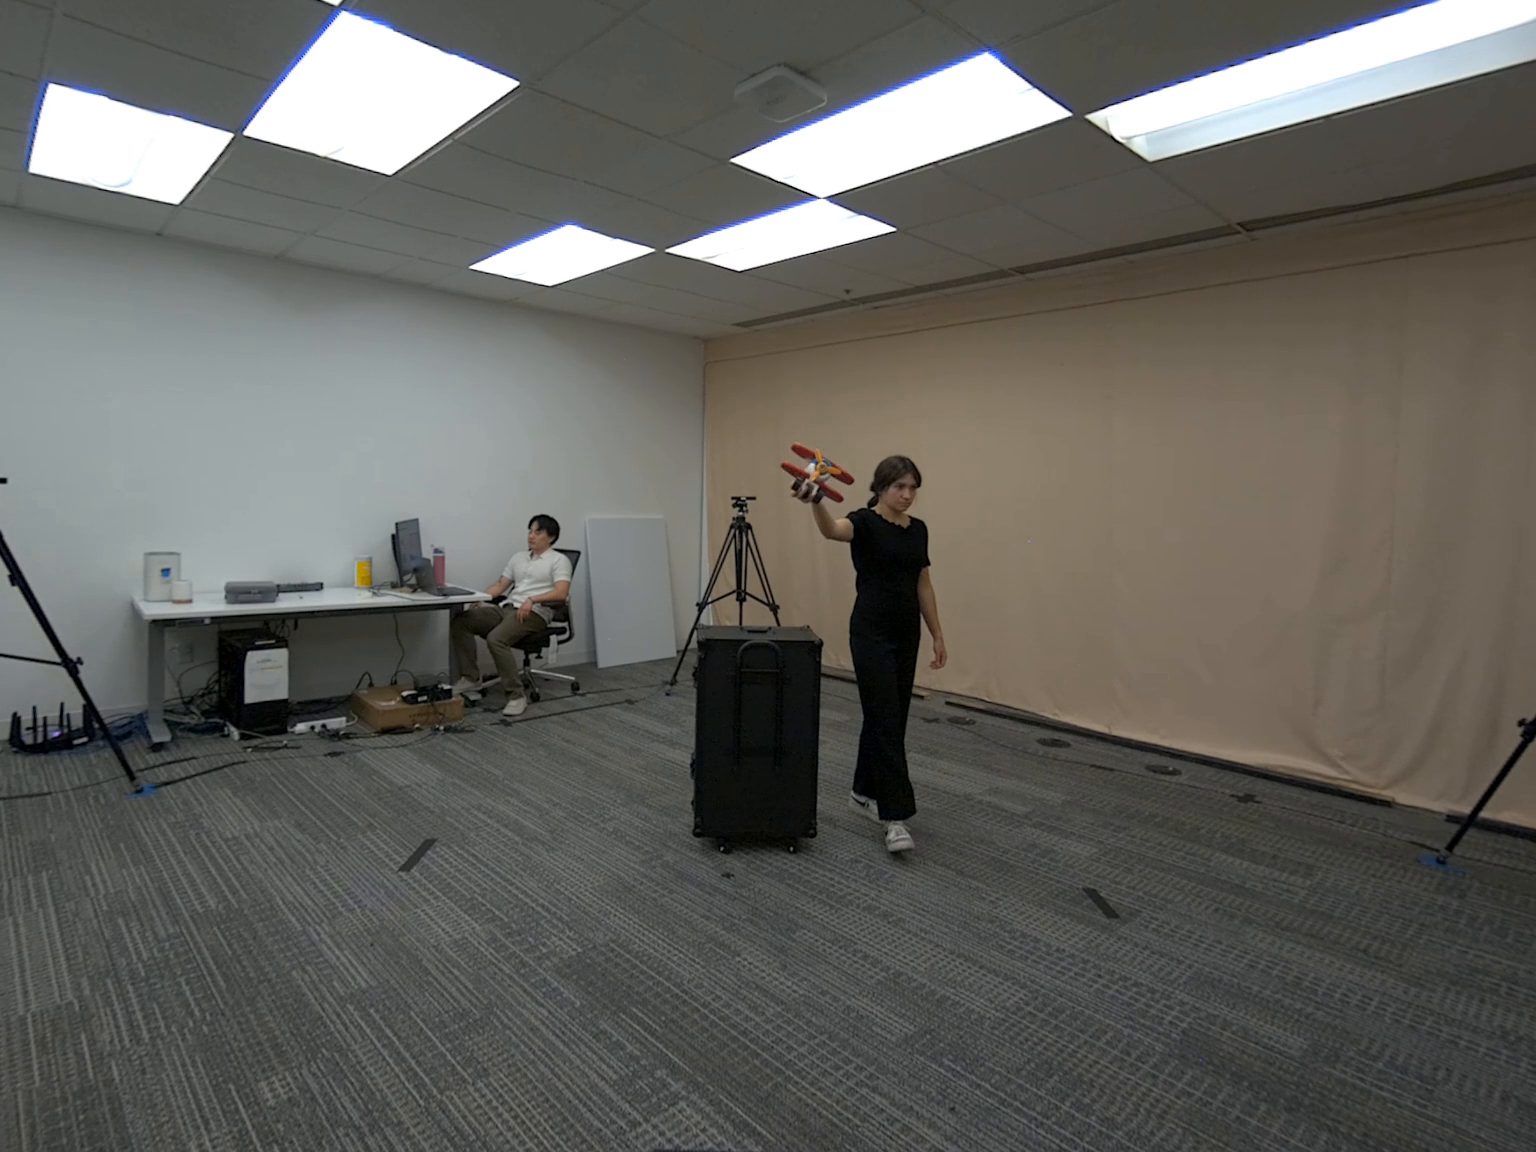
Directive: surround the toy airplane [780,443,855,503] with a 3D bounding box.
[{"bbox_3d":[0.141,-0.365,3.015,0.244,0.156,0.266,30,4,-31],"label":"toy airplane"}]
